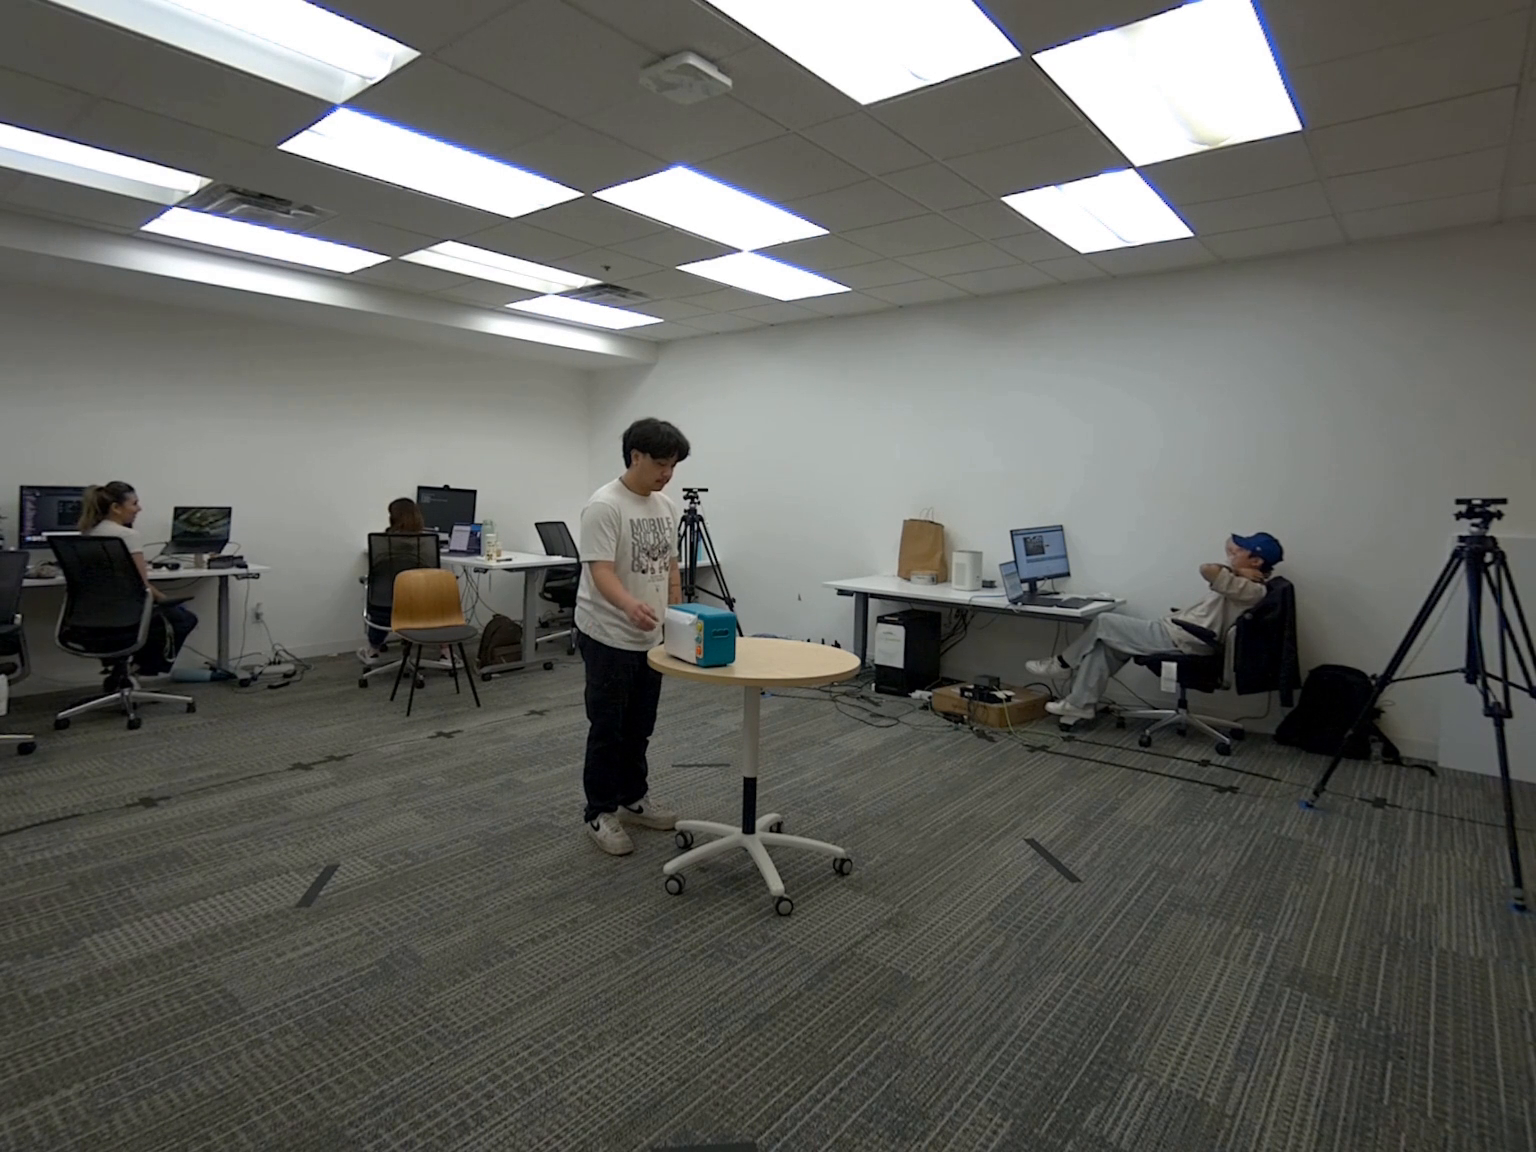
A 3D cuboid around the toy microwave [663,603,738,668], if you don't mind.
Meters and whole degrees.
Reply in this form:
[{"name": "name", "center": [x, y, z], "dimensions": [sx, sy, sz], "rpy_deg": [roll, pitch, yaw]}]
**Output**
[{"name": "toy microwave", "center": [-0.255, 0.198, 2.943], "dimensions": [0.148, 0.183, 0.295], "rpy_deg": [0, 5, -35]}]
